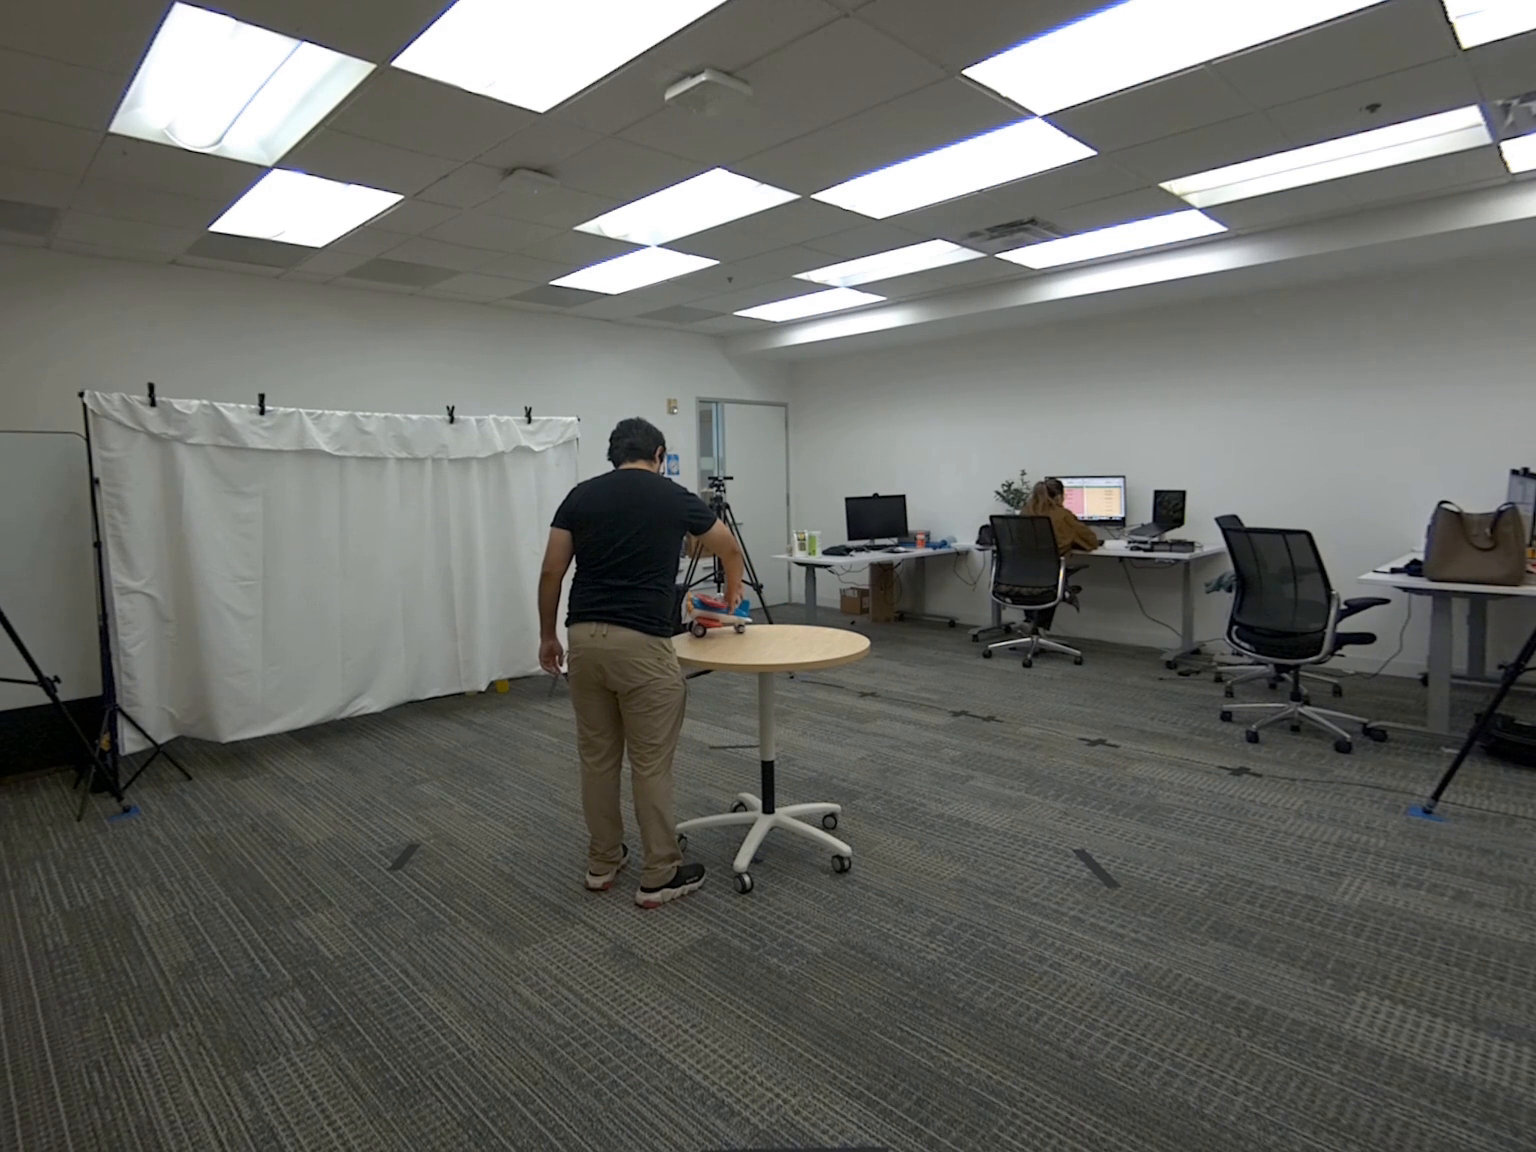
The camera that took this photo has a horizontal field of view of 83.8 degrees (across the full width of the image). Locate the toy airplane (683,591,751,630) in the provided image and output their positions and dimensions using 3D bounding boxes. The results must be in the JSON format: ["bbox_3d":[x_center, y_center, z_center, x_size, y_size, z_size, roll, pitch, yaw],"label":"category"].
[{"bbox_3d":[-0.205,0.151,3.354,0.253,0.155,0.259,-9,10,-44],"label":"toy airplane"}]
